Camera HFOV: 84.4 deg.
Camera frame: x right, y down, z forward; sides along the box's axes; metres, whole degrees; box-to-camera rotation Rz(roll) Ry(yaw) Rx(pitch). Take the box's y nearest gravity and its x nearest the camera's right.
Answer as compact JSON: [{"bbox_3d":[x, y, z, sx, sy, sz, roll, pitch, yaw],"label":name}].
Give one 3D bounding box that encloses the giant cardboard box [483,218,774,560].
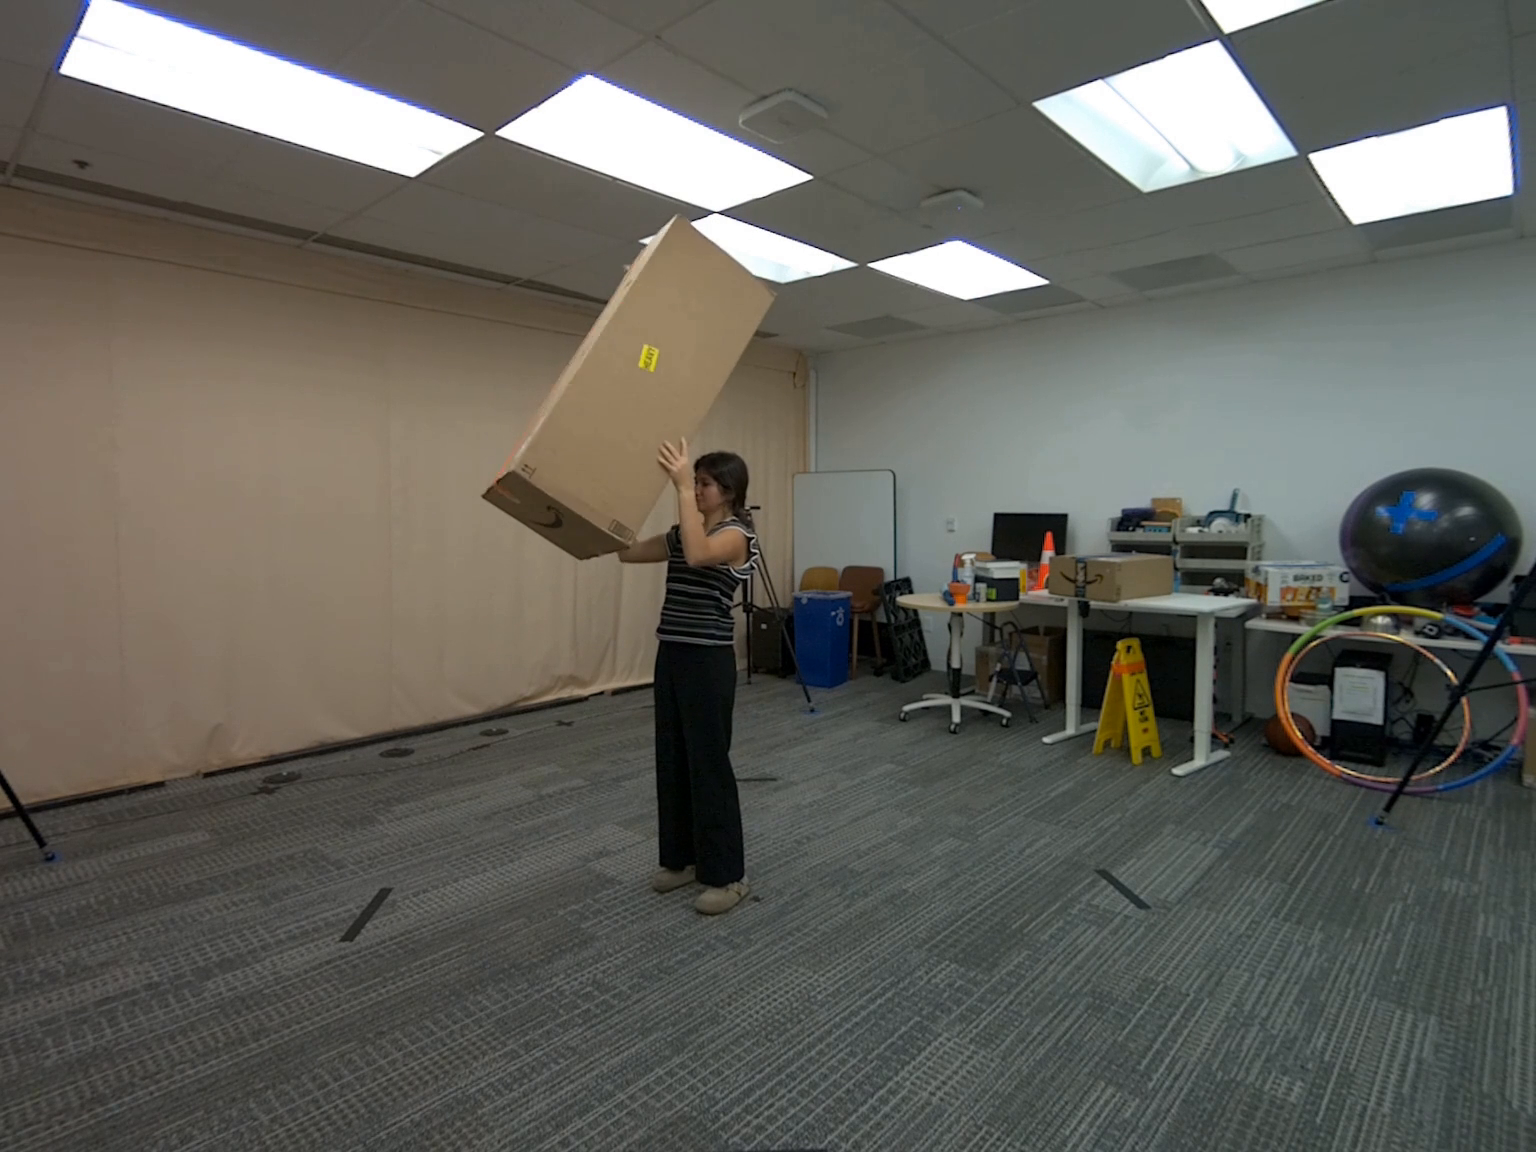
[{"bbox_3d":[-0.481,-0.603,2.901,0.416,1.026,0.591,34,-18,-21],"label":"giant cardboard box"}]
